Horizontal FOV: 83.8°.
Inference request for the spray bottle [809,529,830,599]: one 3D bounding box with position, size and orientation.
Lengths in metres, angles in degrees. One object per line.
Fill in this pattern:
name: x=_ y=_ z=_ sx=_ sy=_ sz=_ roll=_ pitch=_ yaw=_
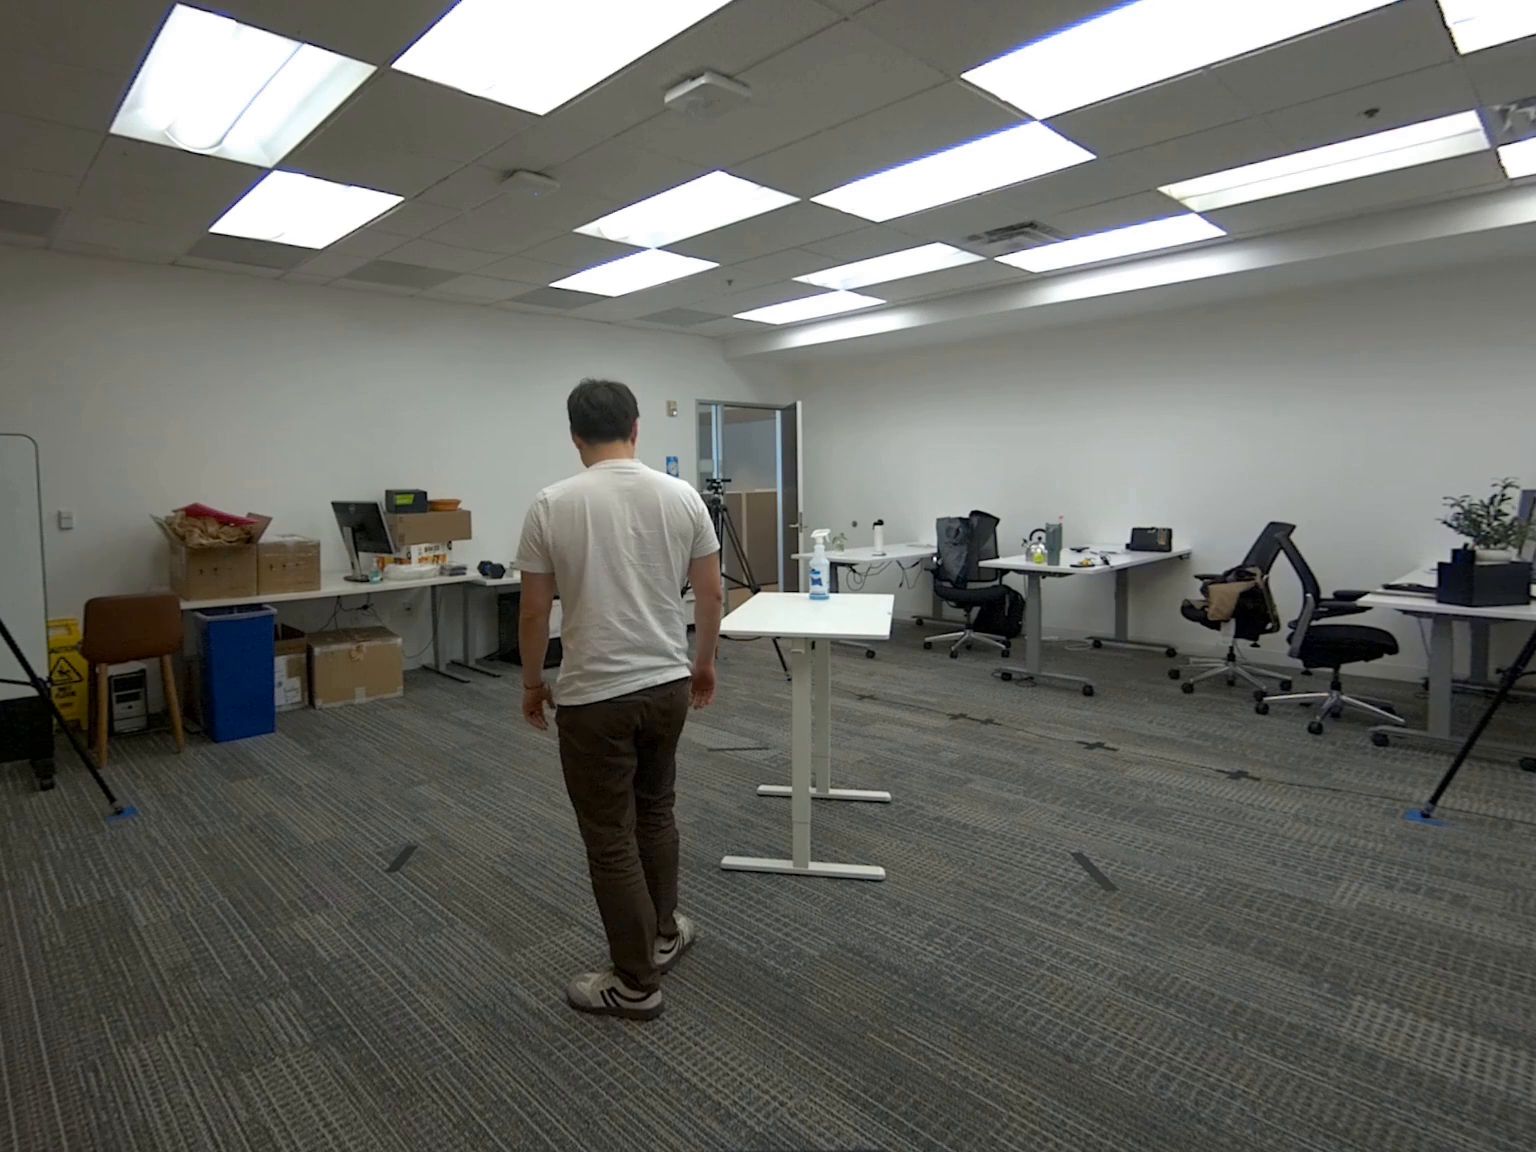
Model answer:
spray bottle: x=0.222 y=-0.048 z=3.647 sx=0.090 sy=0.296 sz=0.087 roll=0 pitch=3 yaw=-1
